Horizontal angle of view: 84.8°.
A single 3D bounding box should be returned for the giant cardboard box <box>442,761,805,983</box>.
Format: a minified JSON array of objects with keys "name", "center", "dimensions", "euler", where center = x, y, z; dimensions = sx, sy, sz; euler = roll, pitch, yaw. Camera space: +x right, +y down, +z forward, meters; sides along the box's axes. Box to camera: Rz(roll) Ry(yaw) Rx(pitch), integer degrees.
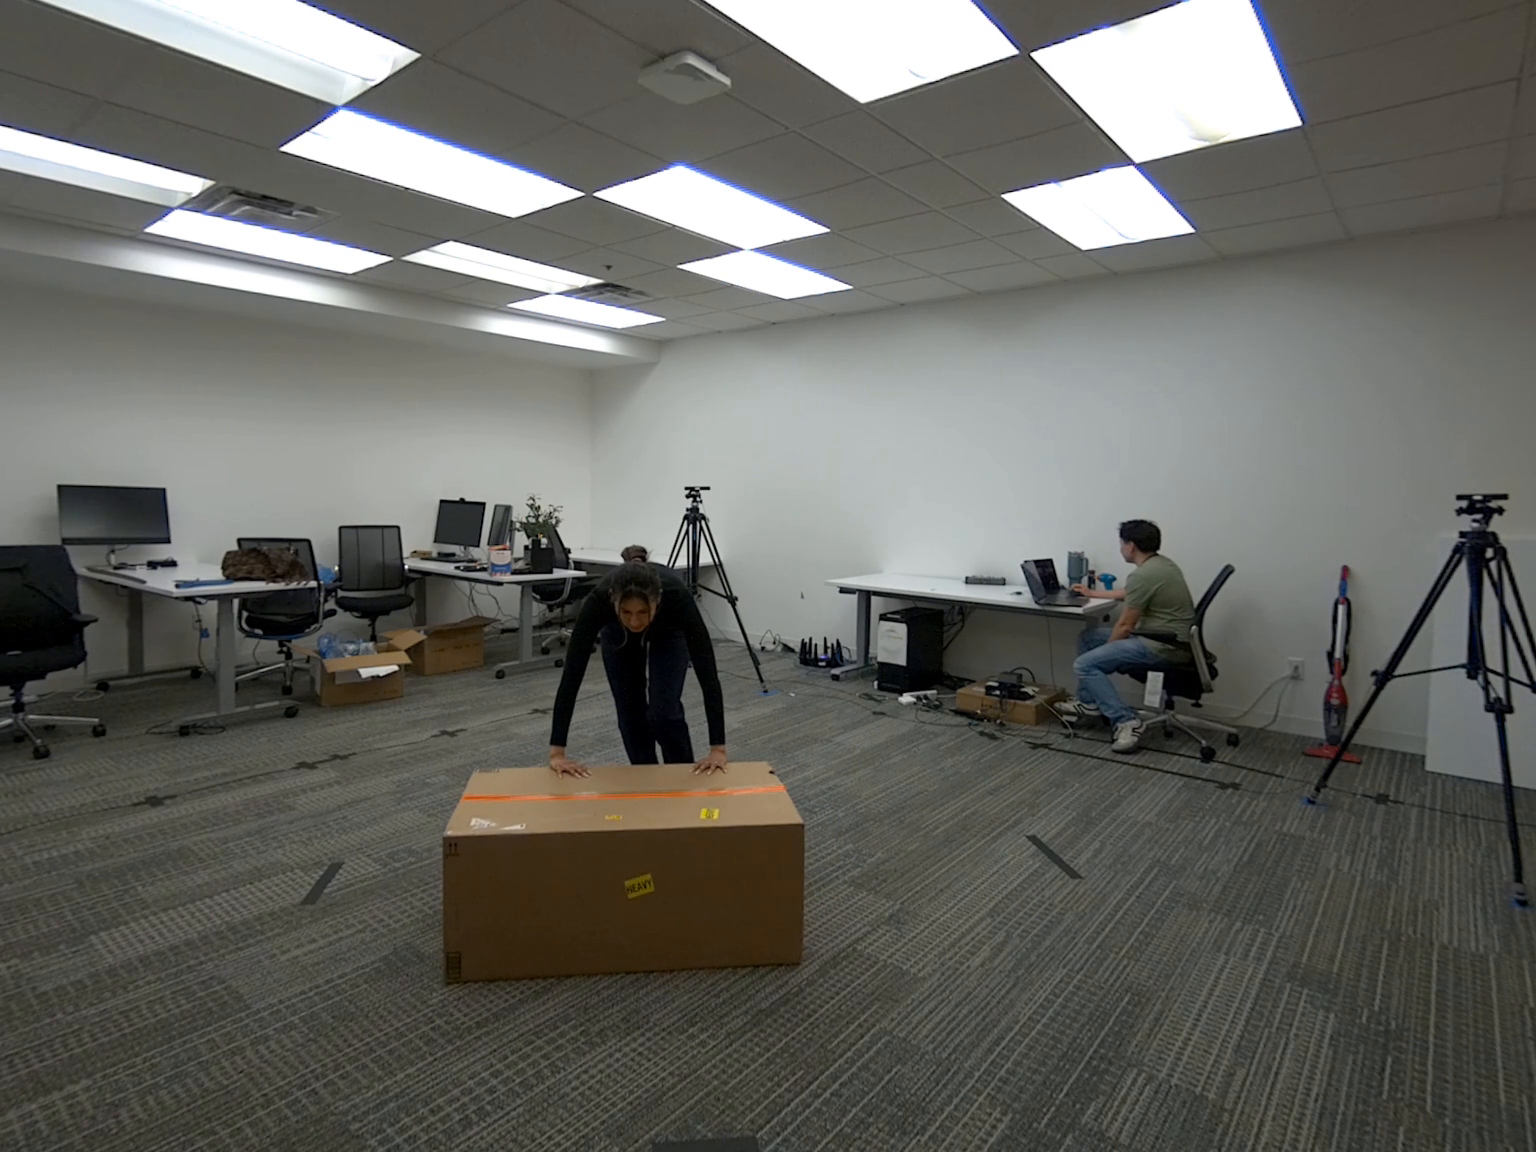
[{"name":"giant cardboard box","center":[-0.458,0.890,2.691],"dimensions":[1.017,0.425,0.584],"euler":[0,4,-8]}]
